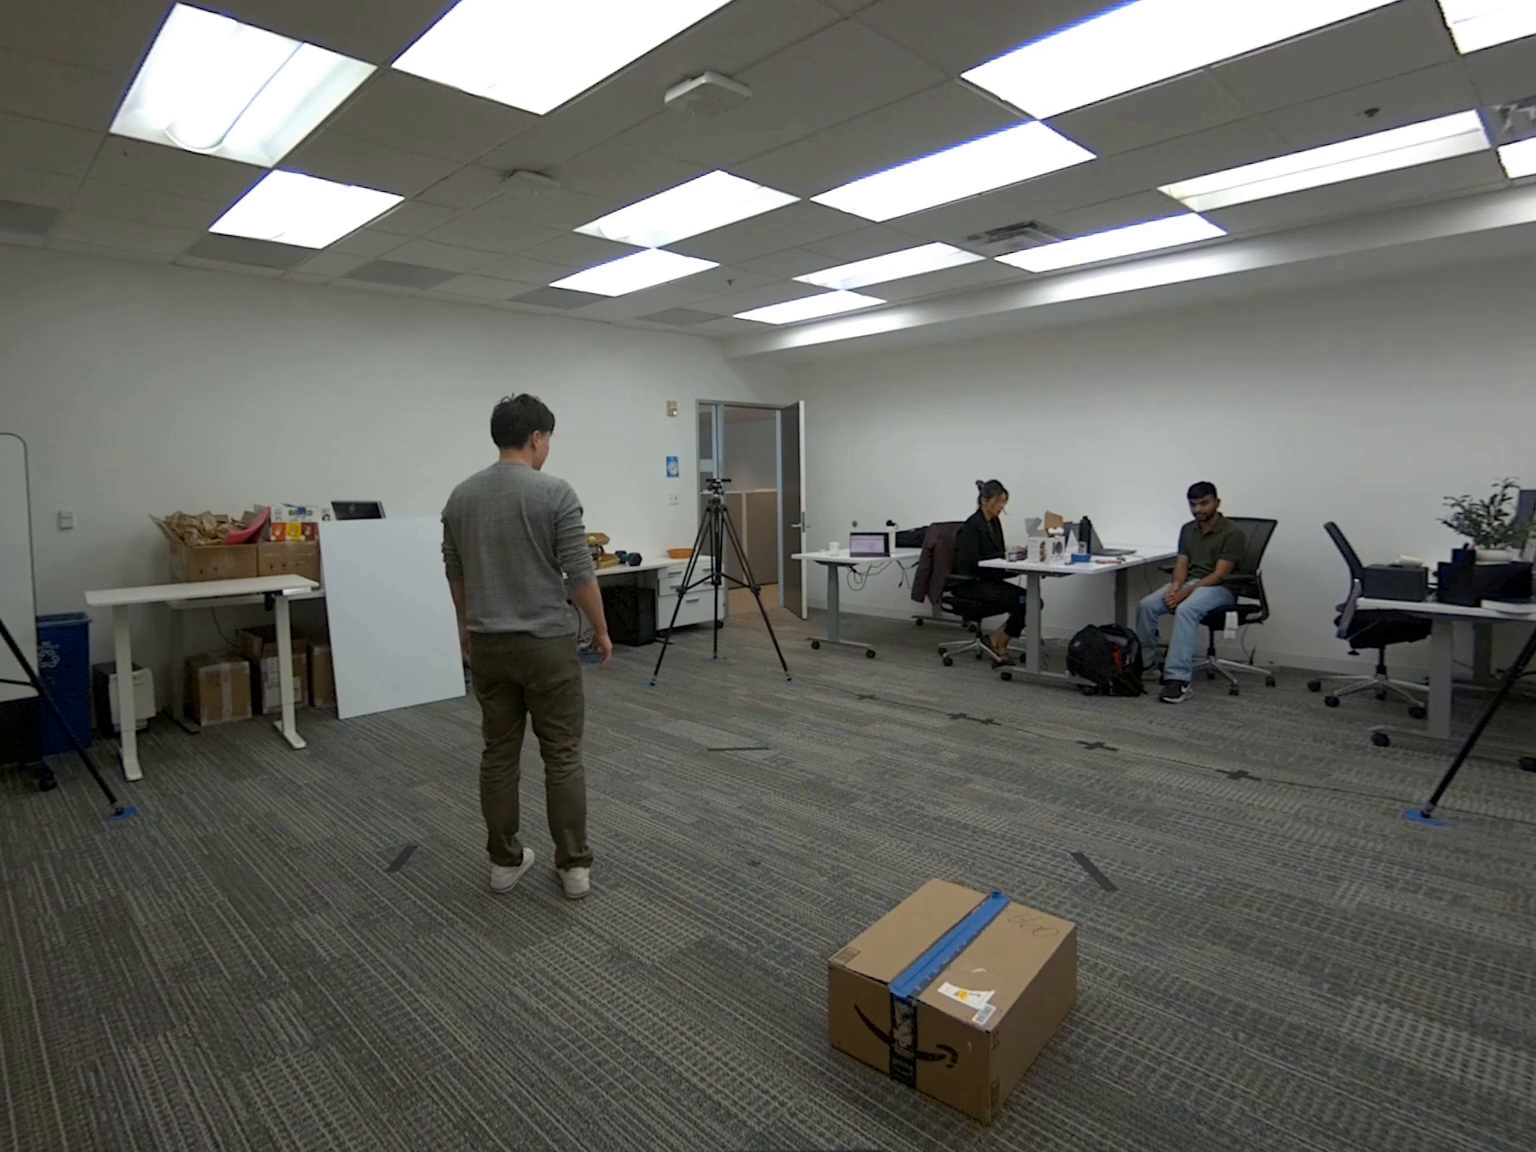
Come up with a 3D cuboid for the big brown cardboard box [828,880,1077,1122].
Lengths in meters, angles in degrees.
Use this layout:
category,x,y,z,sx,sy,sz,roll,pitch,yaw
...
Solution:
category,x,y,z,sx,sy,sz,roll,pitch,yaw
big brown cardboard box,0.481,1.033,2.170,0.430,0.232,0.574,4,7,38
